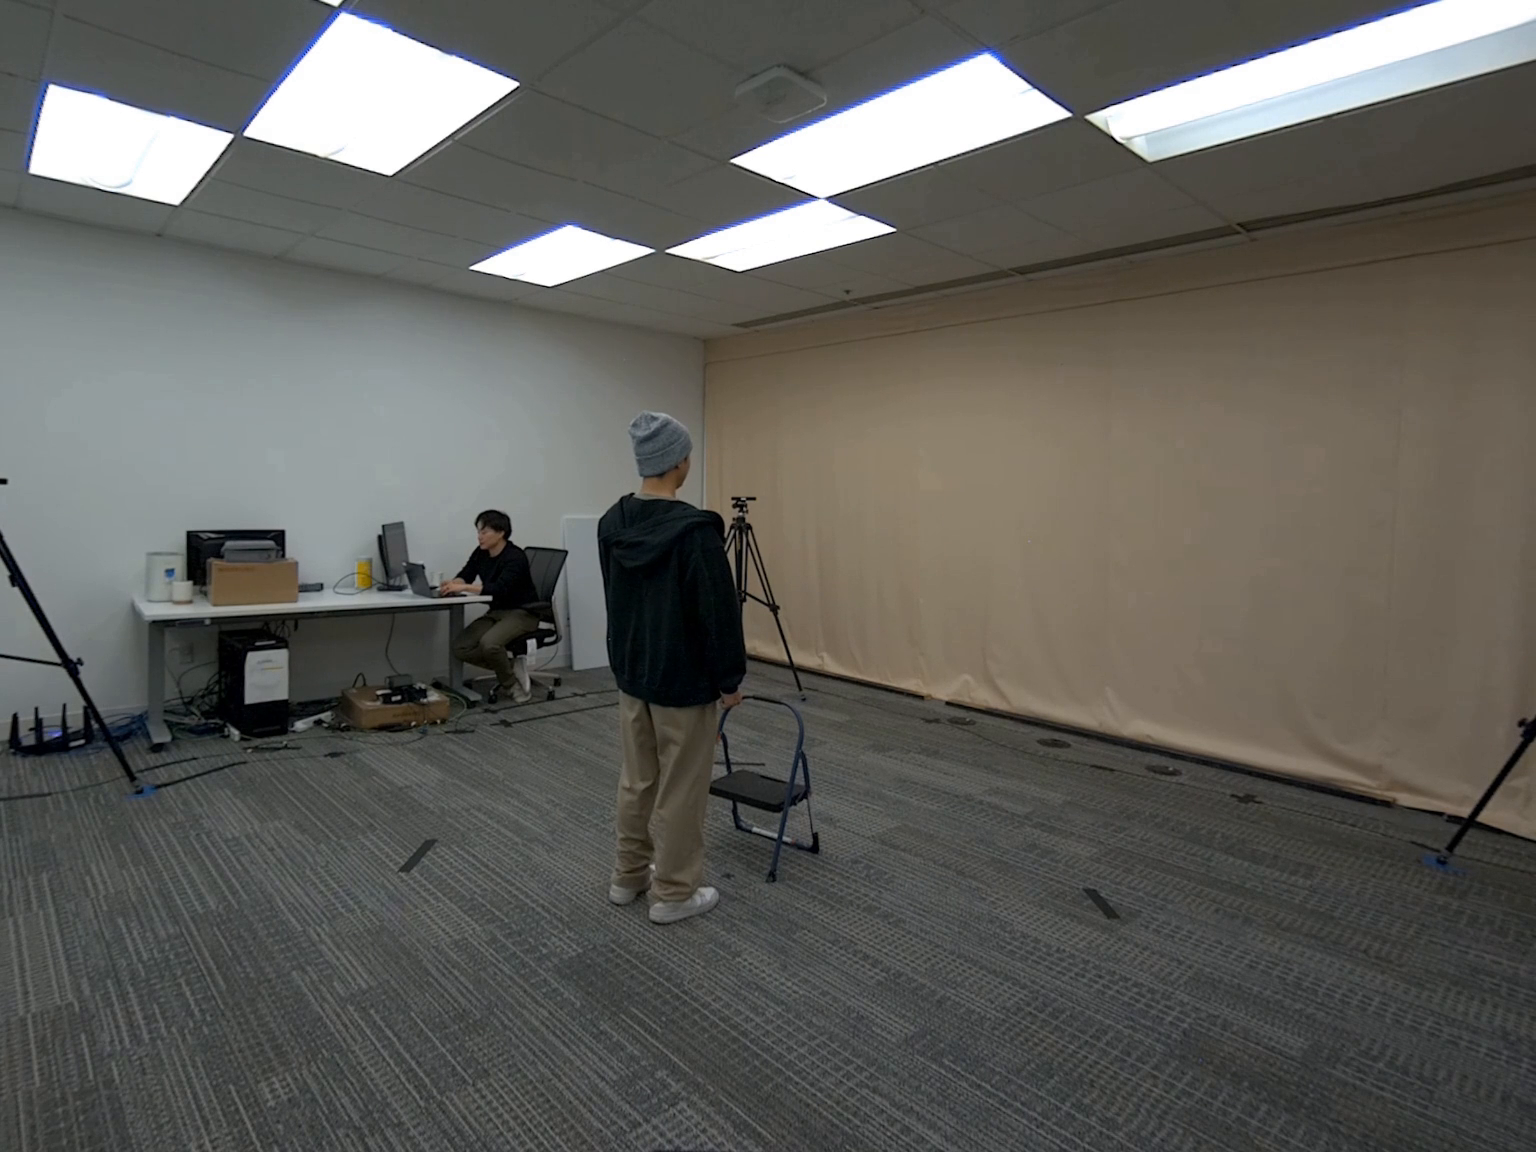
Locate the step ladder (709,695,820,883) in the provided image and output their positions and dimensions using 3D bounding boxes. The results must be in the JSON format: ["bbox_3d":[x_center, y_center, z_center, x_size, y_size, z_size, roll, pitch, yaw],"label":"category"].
[{"bbox_3d":[-0.055,0.788,3.306,0.441,0.604,0.342,4,4,36],"label":"step ladder"}]
